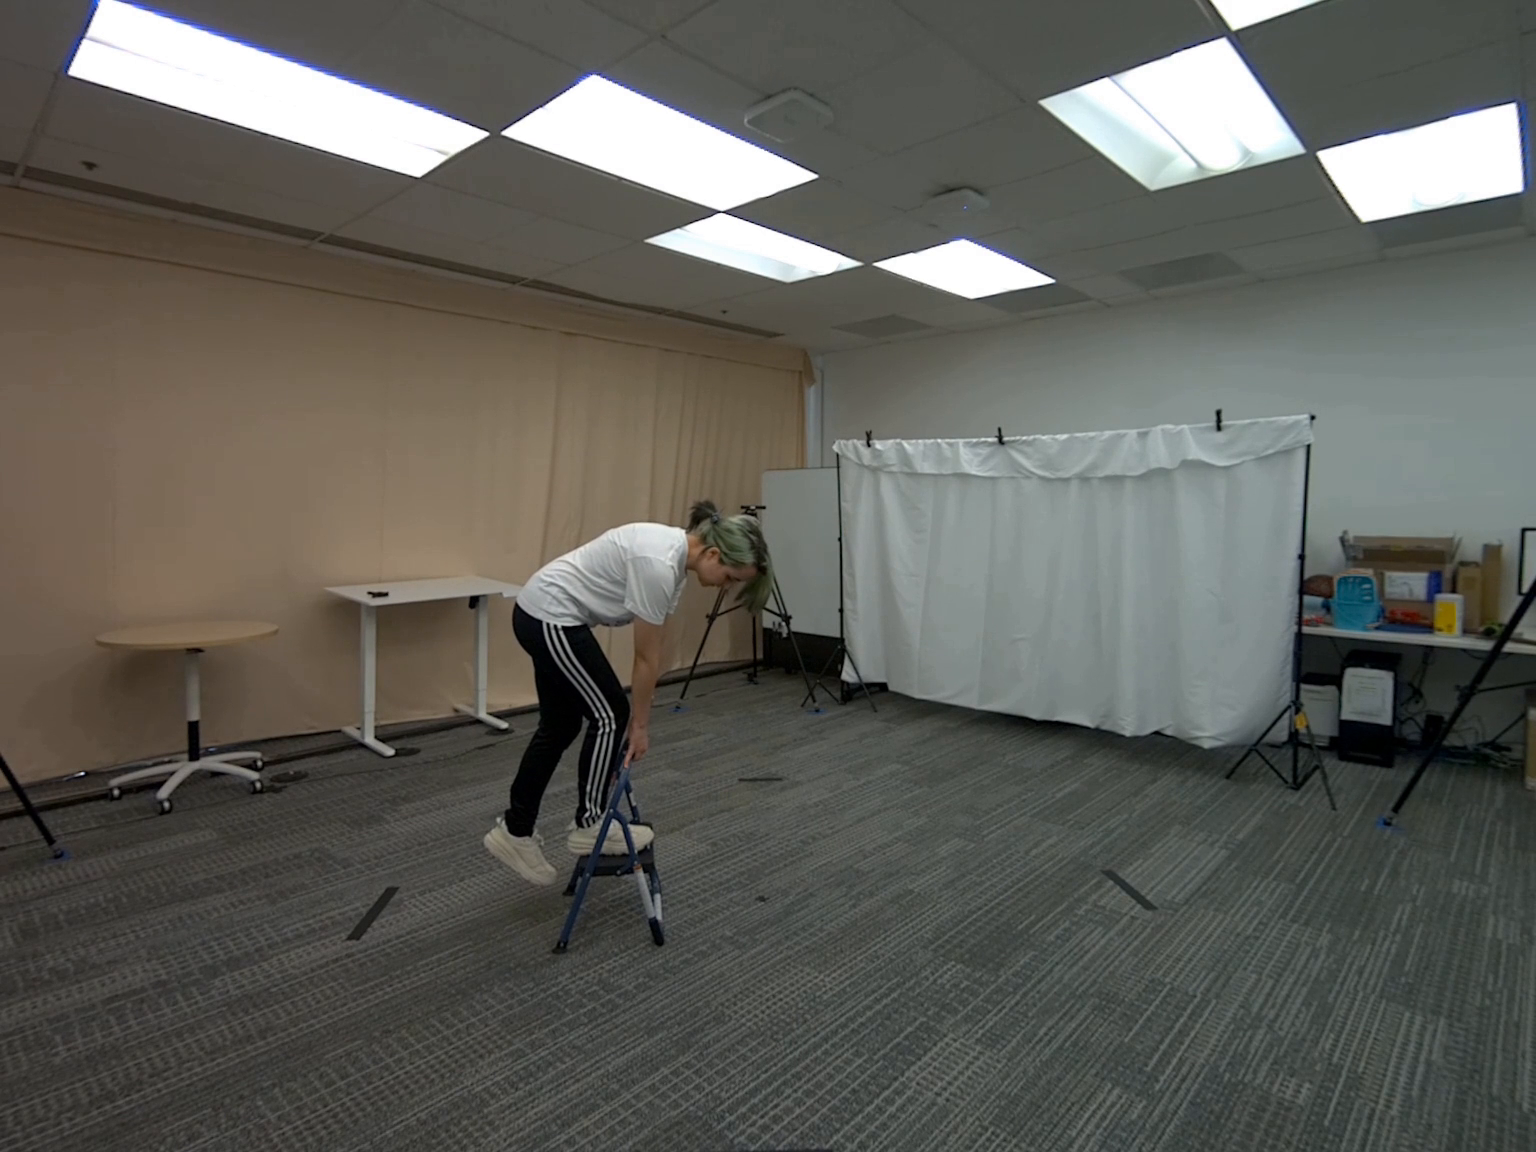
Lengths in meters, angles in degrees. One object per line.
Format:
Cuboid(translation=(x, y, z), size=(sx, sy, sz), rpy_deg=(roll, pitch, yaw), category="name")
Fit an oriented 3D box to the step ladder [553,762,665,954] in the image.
Cuboid(translation=(-0.533, 0.863, 2.838), size=(0.347, 0.605, 0.435), rpy_deg=(-1, 3, -8), category="step ladder")
